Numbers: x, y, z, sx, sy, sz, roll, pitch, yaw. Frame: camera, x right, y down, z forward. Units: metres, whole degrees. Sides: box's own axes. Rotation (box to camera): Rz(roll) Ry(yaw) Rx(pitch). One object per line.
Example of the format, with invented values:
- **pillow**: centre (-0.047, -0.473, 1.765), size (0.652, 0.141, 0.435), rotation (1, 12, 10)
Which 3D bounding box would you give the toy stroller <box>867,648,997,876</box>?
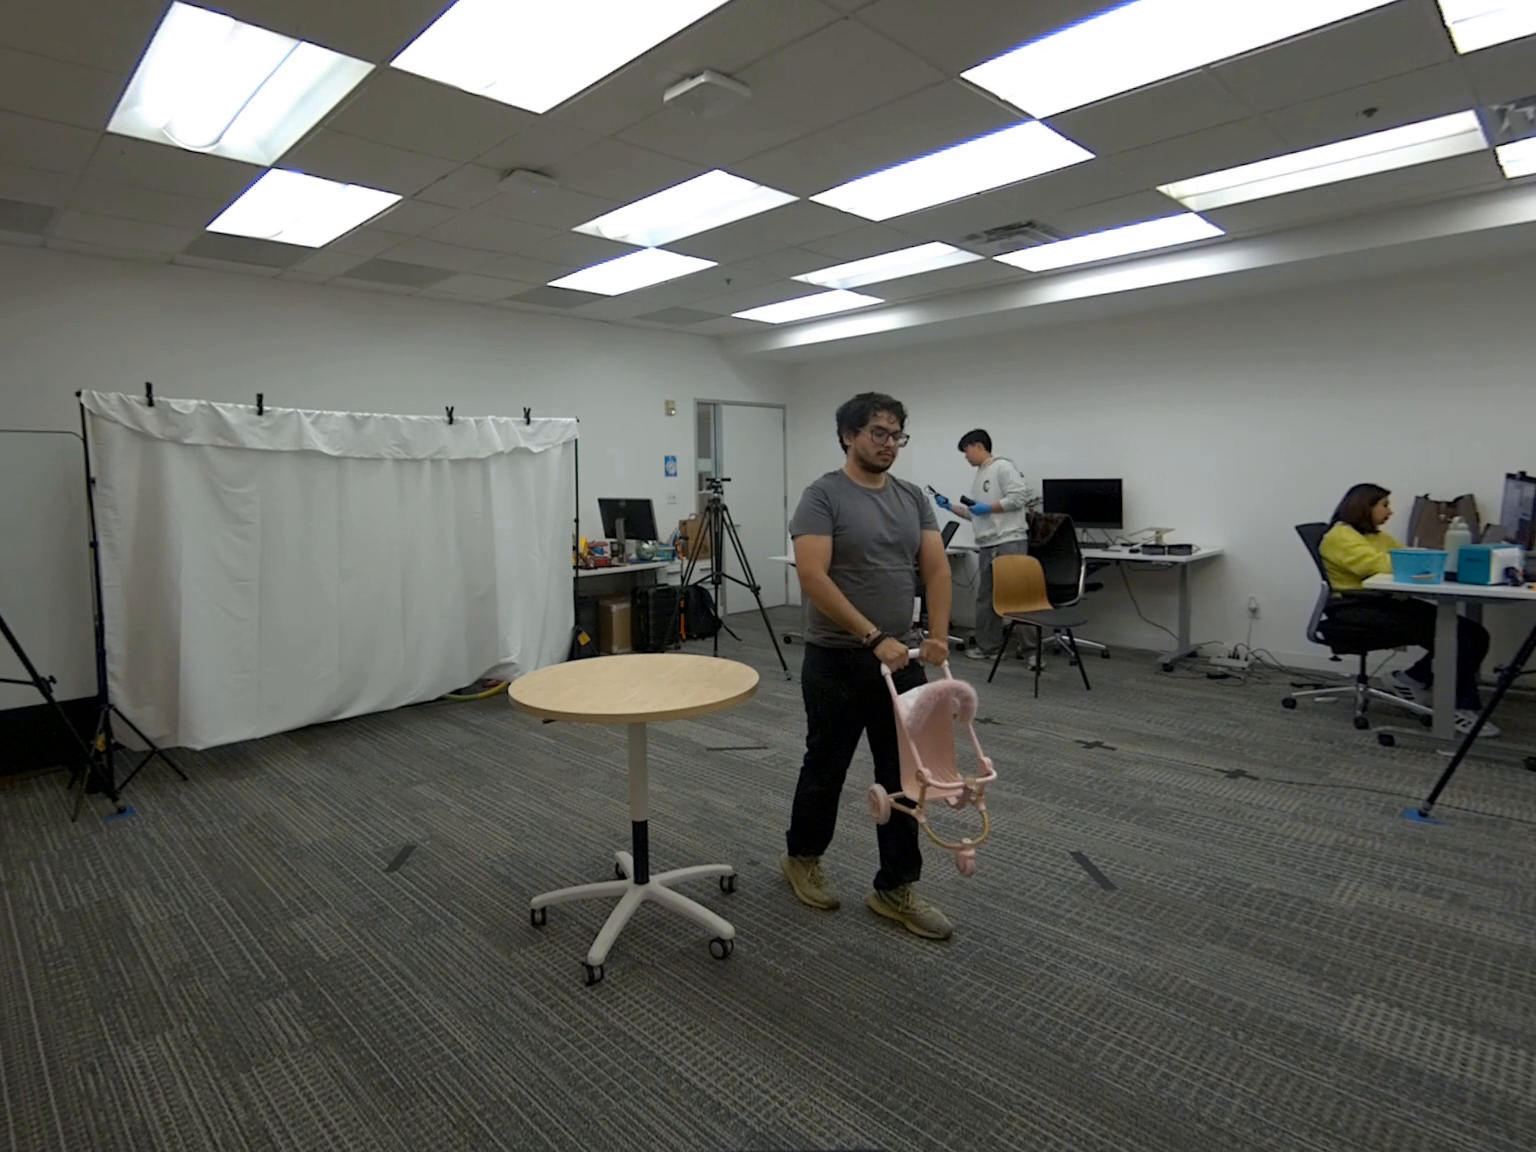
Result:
- **toy stroller**: centre (0.471, 0.506, 2.325), size (0.277, 0.531, 0.348), rotation (-3, 8, -16)
